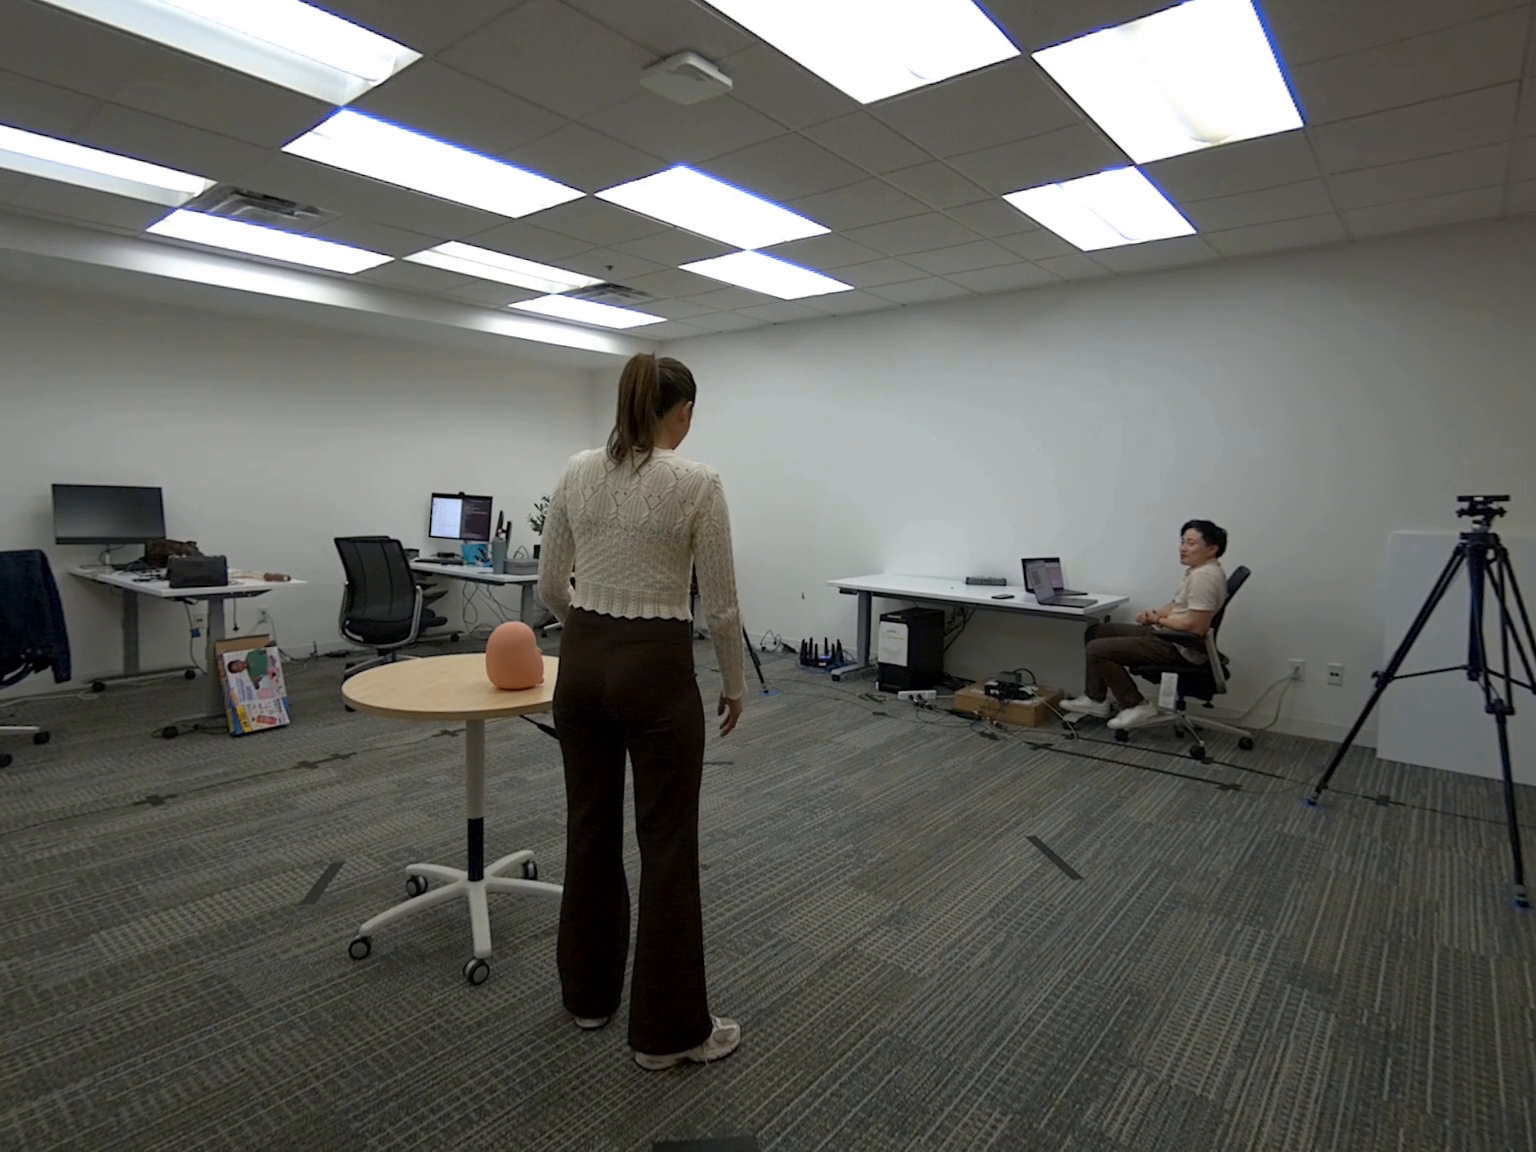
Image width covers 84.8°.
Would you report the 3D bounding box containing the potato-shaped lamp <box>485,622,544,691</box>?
[{"bbox_3d":[-0.772,0.233,2.557,0.170,0.197,0.167,9,10,37],"label":"potato-shaped lamp"}]
